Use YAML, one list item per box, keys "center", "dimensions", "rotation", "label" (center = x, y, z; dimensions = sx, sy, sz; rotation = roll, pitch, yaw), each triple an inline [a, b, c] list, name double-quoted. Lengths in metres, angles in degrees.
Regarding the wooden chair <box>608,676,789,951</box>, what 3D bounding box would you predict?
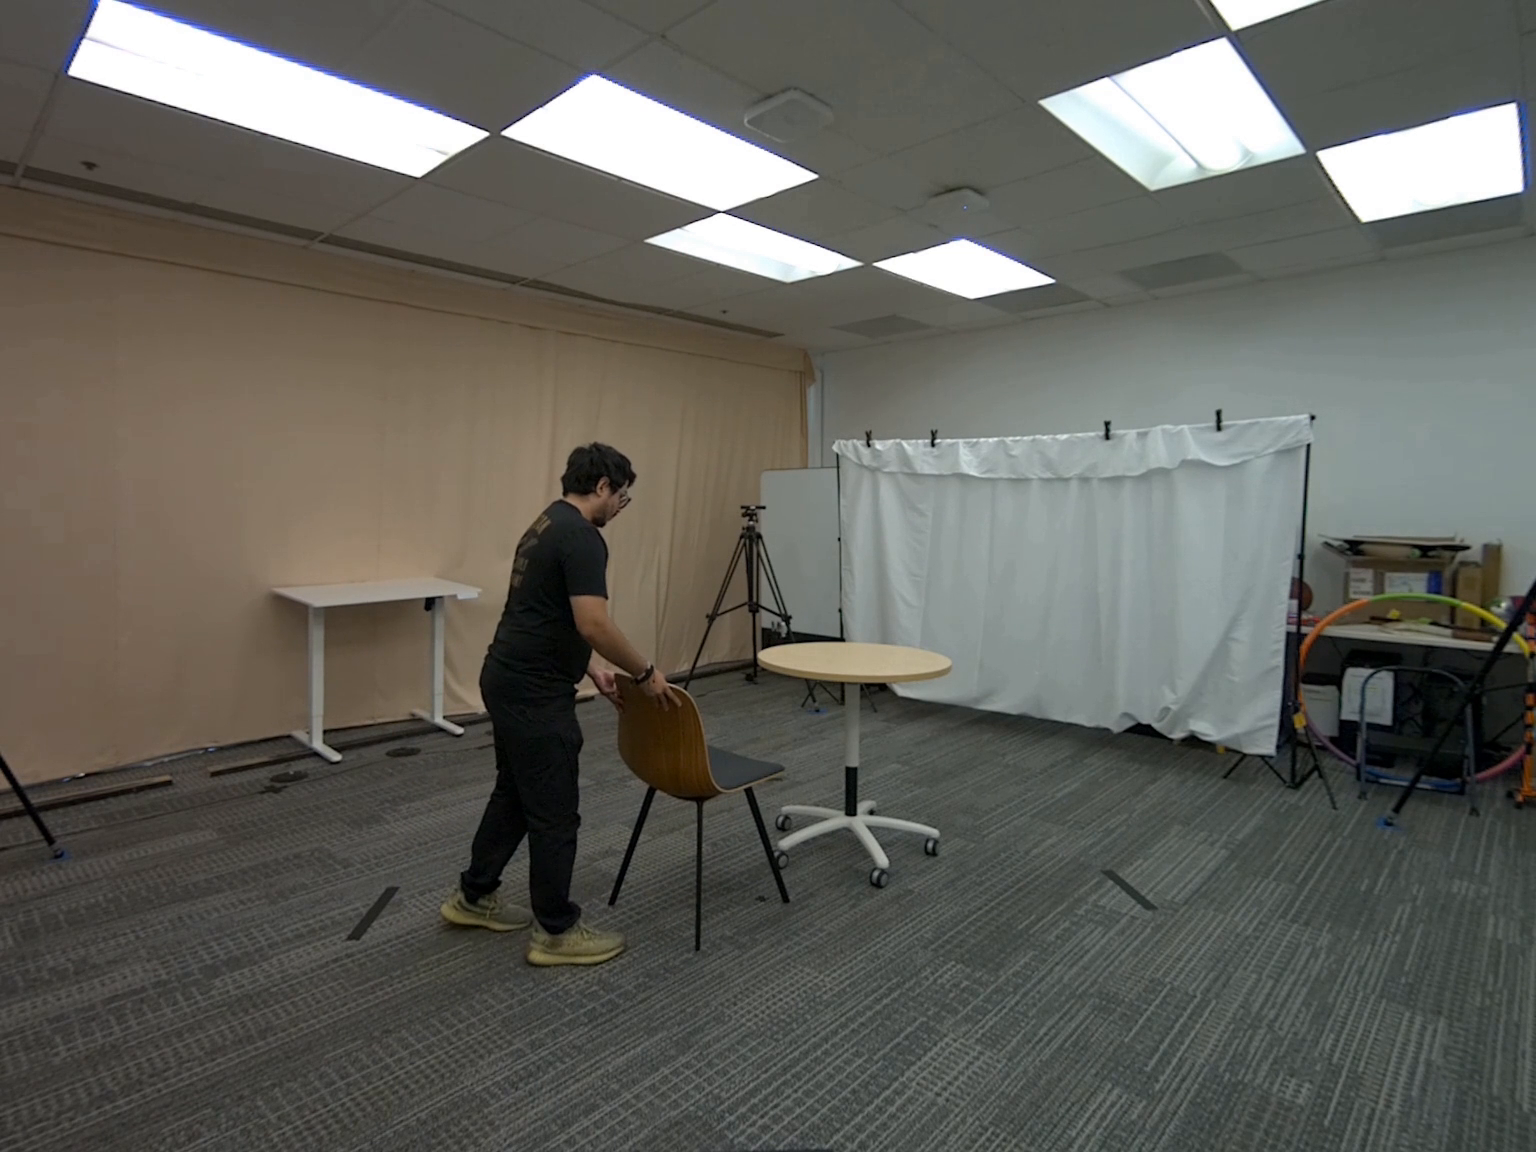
- center: [-0.237, 0.722, 2.924]
  dimensions: [0.494, 0.873, 0.508]
  rotation: [3, 9, 43]
  label: "wooden chair"
